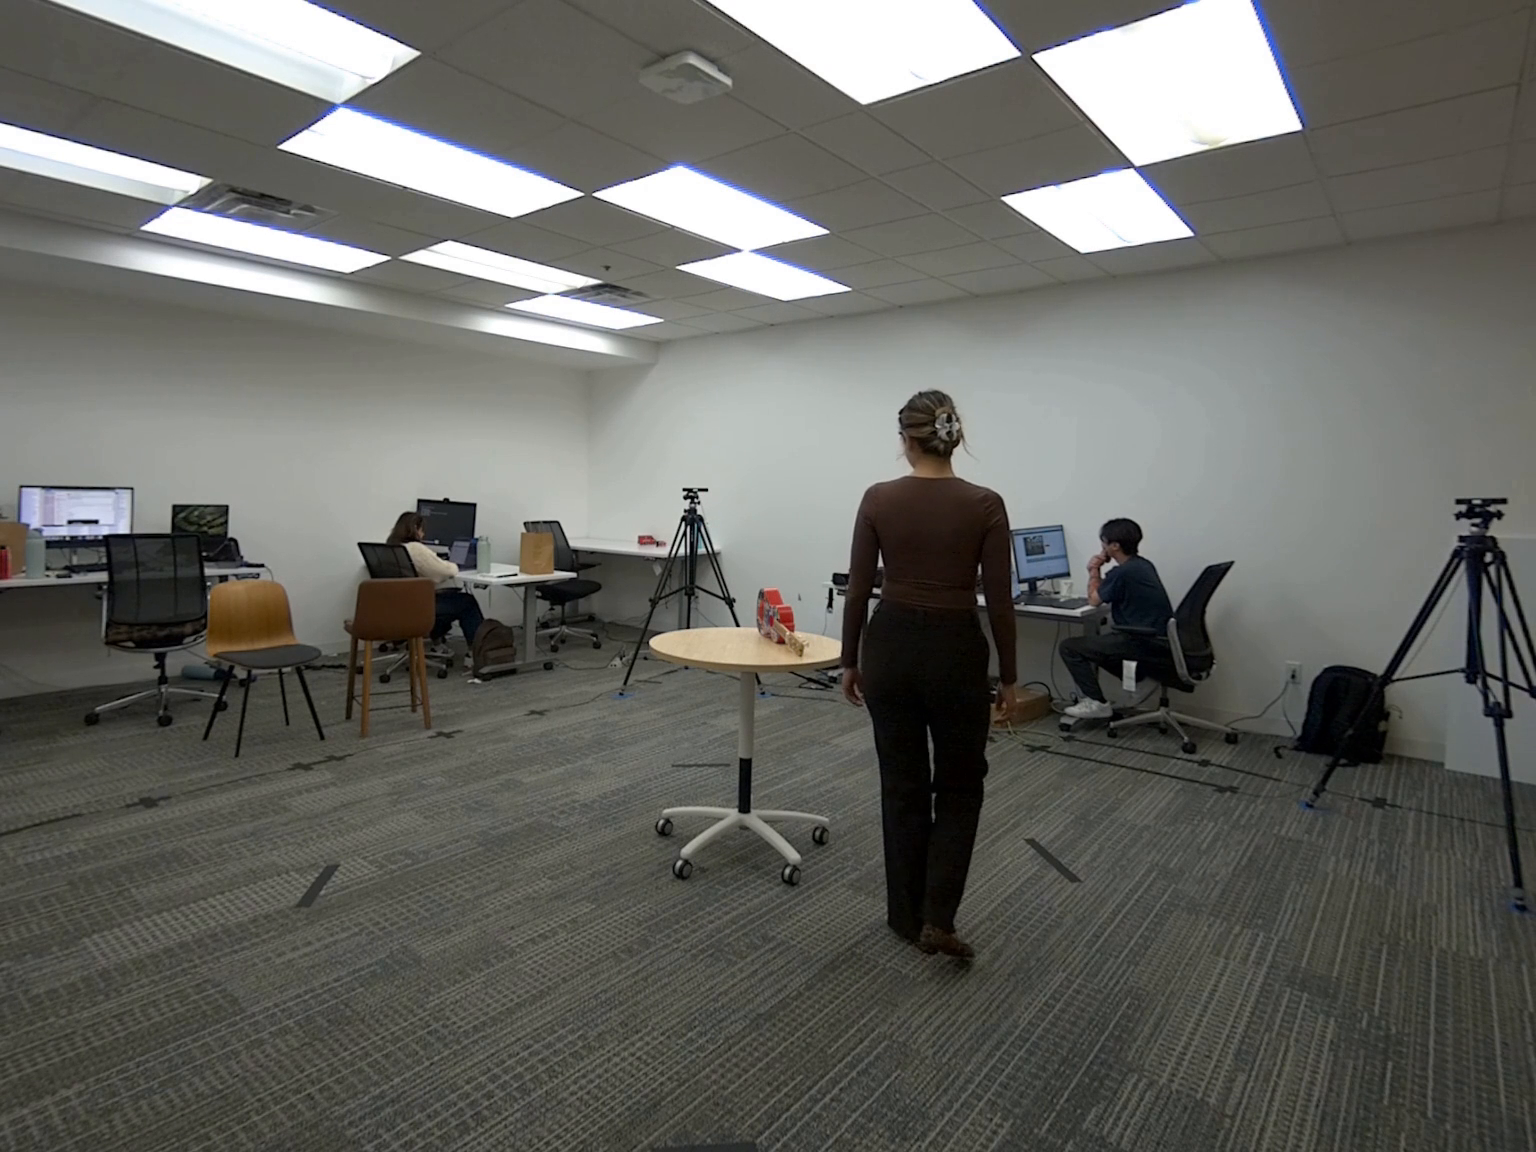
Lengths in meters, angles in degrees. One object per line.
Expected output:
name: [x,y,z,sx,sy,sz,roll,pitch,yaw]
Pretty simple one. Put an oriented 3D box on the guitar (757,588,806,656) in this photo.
guitar: [0.051,0.217,3.291,0.069,0.190,0.516,-1,24,-19]
